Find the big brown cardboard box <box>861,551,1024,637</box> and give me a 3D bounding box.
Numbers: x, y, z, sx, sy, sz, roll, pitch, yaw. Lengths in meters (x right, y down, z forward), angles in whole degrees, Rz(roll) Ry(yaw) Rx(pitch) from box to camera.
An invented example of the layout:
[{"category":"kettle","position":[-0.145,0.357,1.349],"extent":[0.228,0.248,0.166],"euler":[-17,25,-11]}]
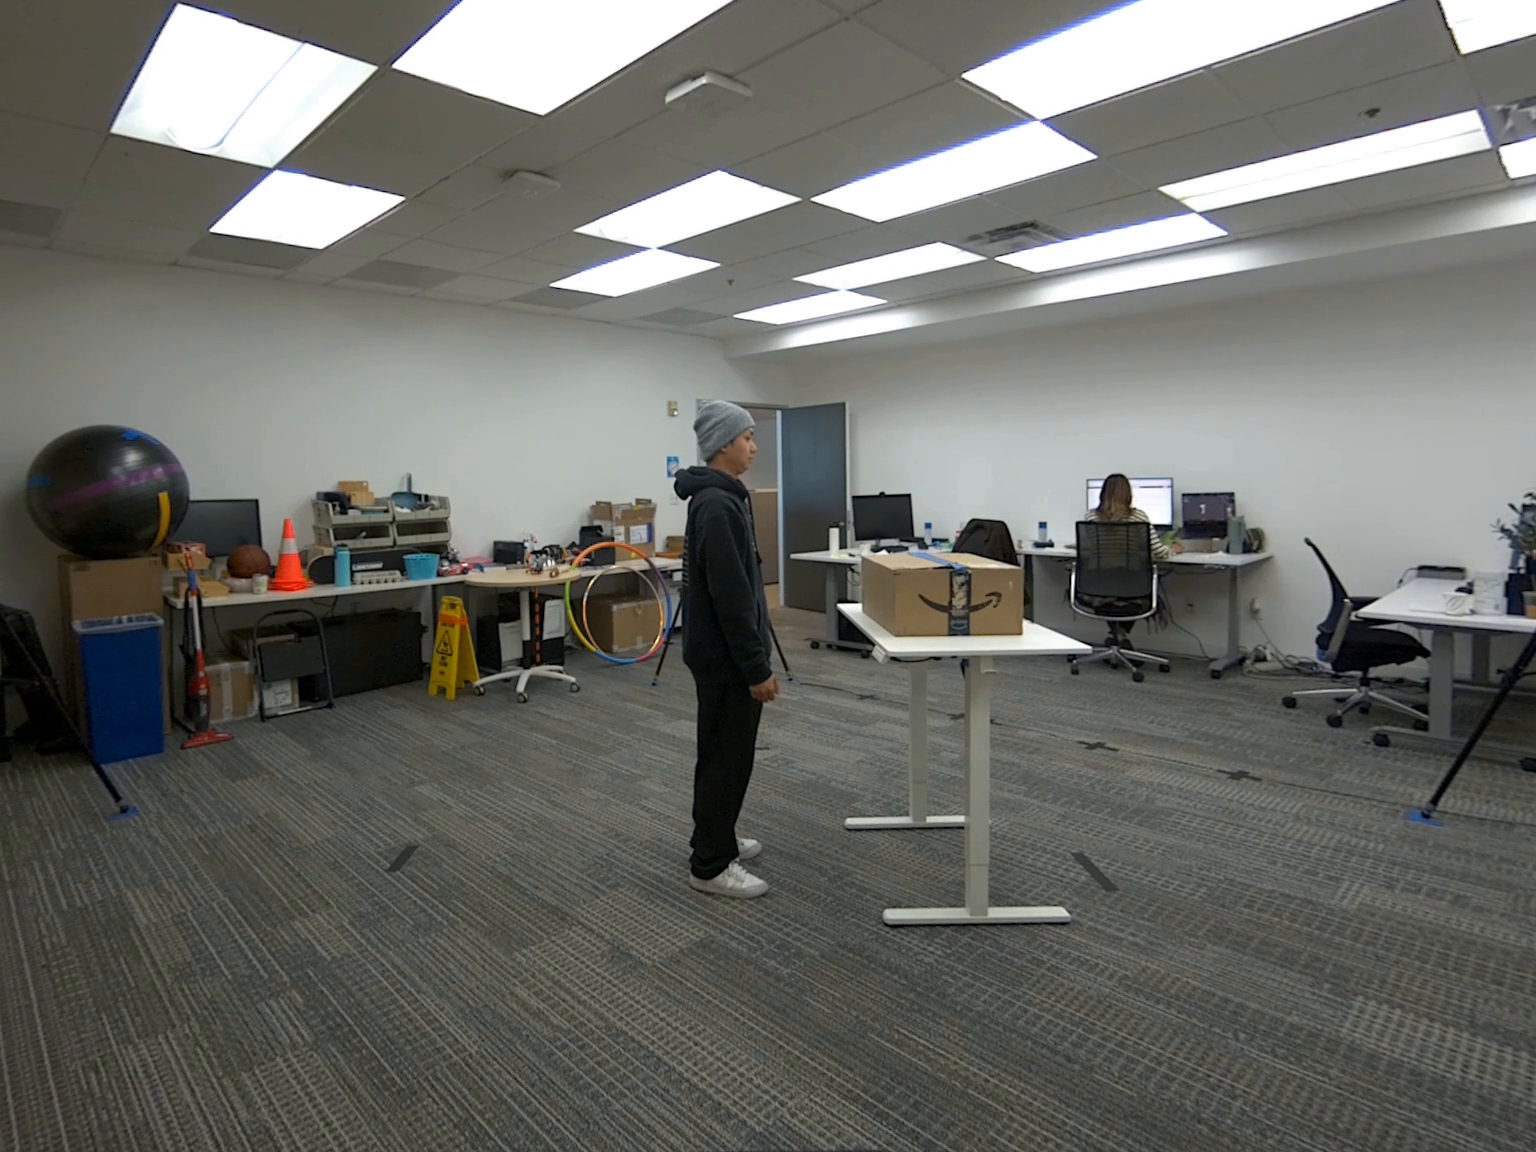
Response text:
[{"category":"big brown cardboard box","position":[0.577,0.056,2.990],"extent":[0.417,0.232,0.592],"euler":[-1,5,-3]}]
